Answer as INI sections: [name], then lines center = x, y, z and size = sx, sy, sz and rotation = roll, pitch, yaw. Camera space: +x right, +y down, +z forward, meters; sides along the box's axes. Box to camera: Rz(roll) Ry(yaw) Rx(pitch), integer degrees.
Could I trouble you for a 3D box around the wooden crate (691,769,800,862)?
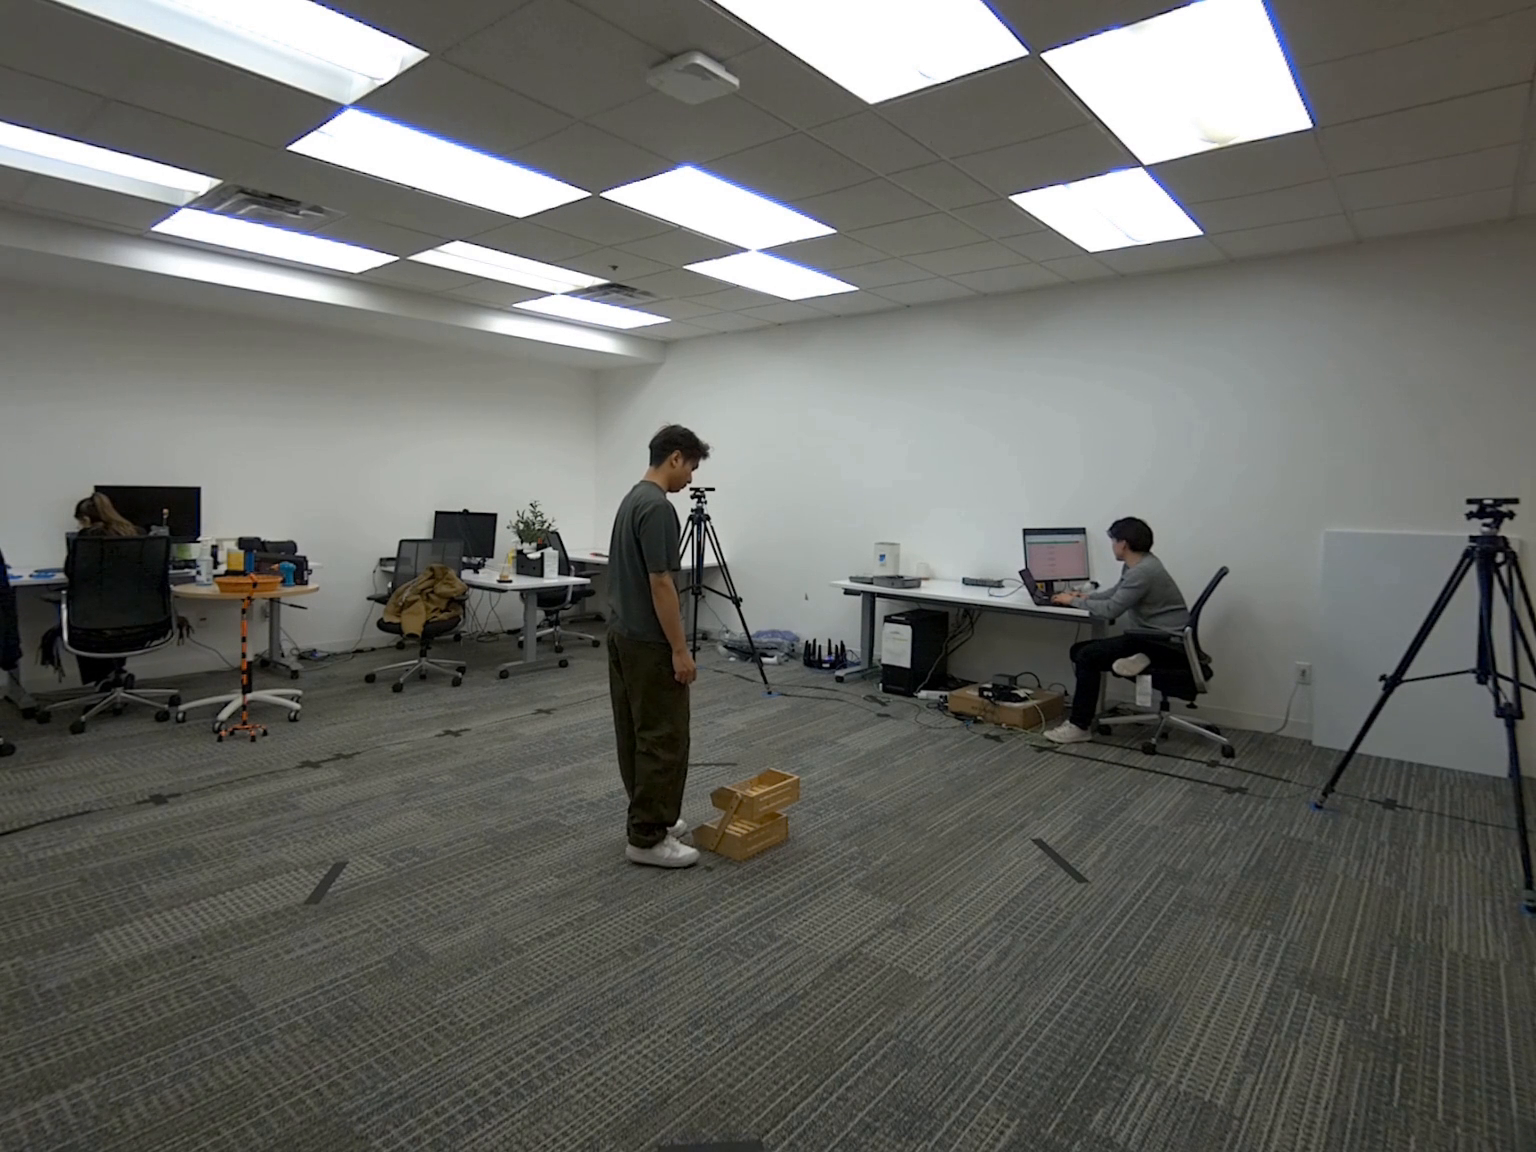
[wooden crate]
center = -0.098, 0.916, 3.345
size = 0.312, 0.272, 0.315
rotation = 5, 6, 40
